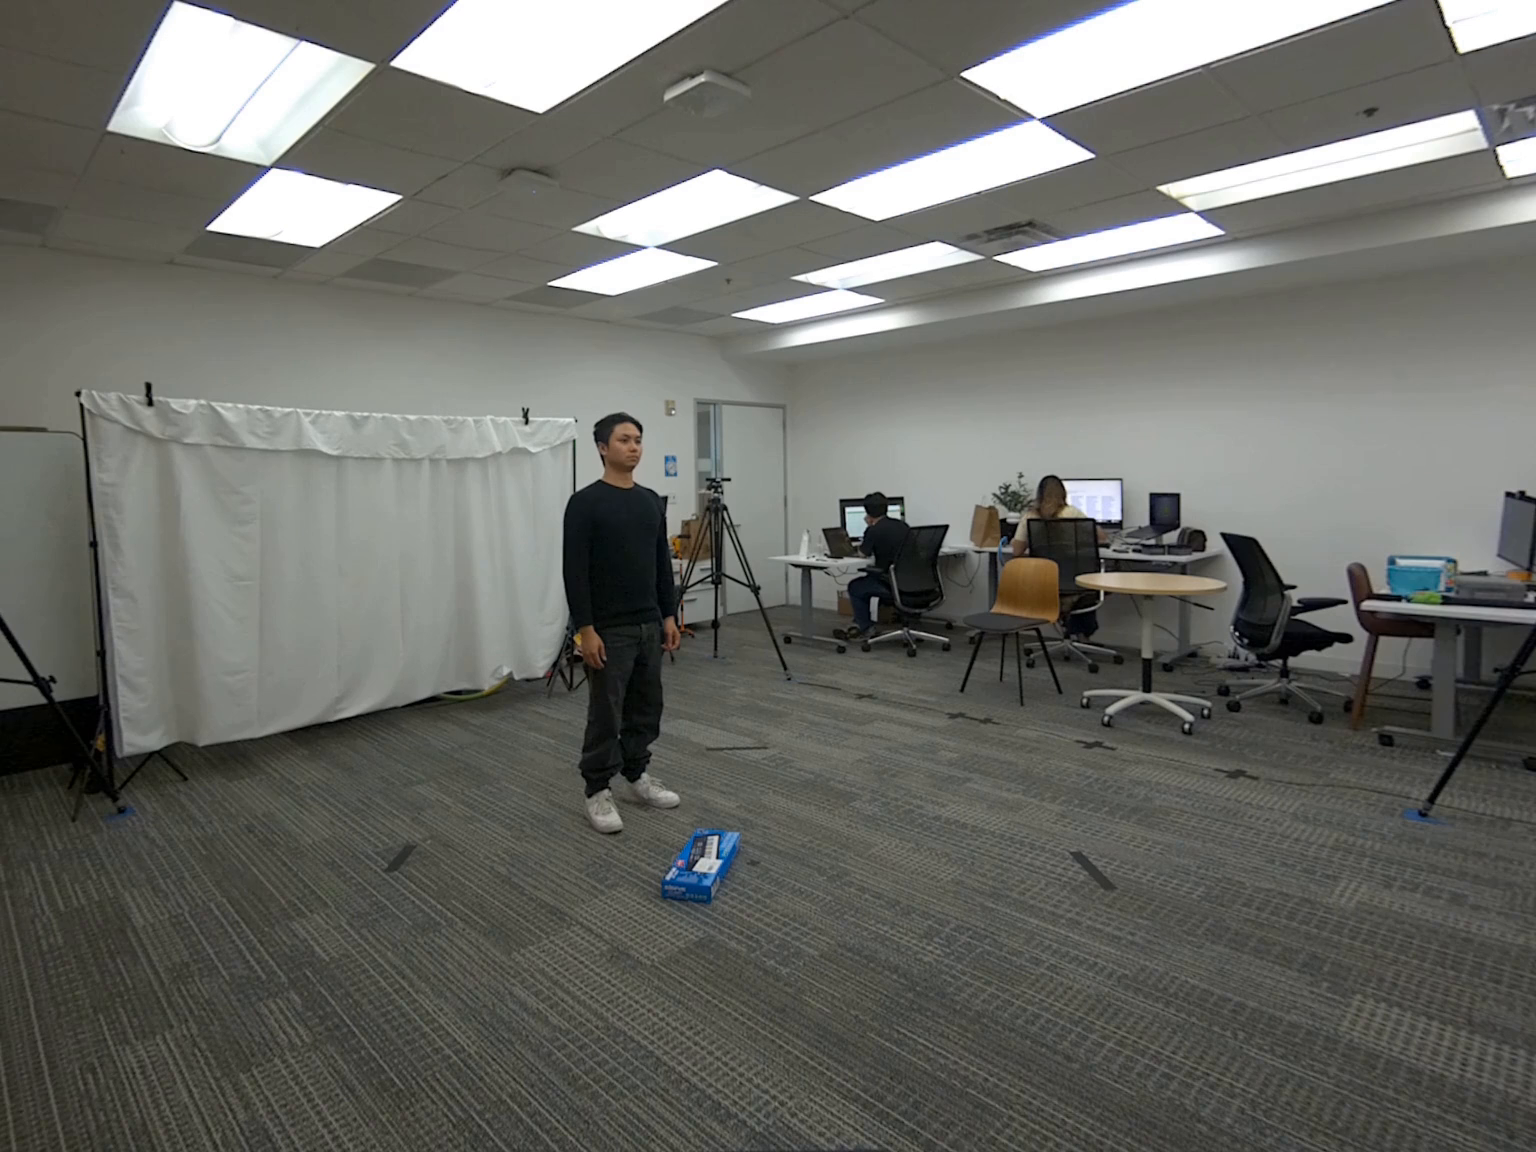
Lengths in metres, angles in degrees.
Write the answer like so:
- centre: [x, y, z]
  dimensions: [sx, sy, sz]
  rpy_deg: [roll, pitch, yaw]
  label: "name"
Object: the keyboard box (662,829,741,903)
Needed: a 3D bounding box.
- centre: [-0.225, 1.021, 3.045]
  dimensions: [0.178, 0.059, 0.433]
  rpy_deg: [1, 7, 12]
  label: "keyboard box"
